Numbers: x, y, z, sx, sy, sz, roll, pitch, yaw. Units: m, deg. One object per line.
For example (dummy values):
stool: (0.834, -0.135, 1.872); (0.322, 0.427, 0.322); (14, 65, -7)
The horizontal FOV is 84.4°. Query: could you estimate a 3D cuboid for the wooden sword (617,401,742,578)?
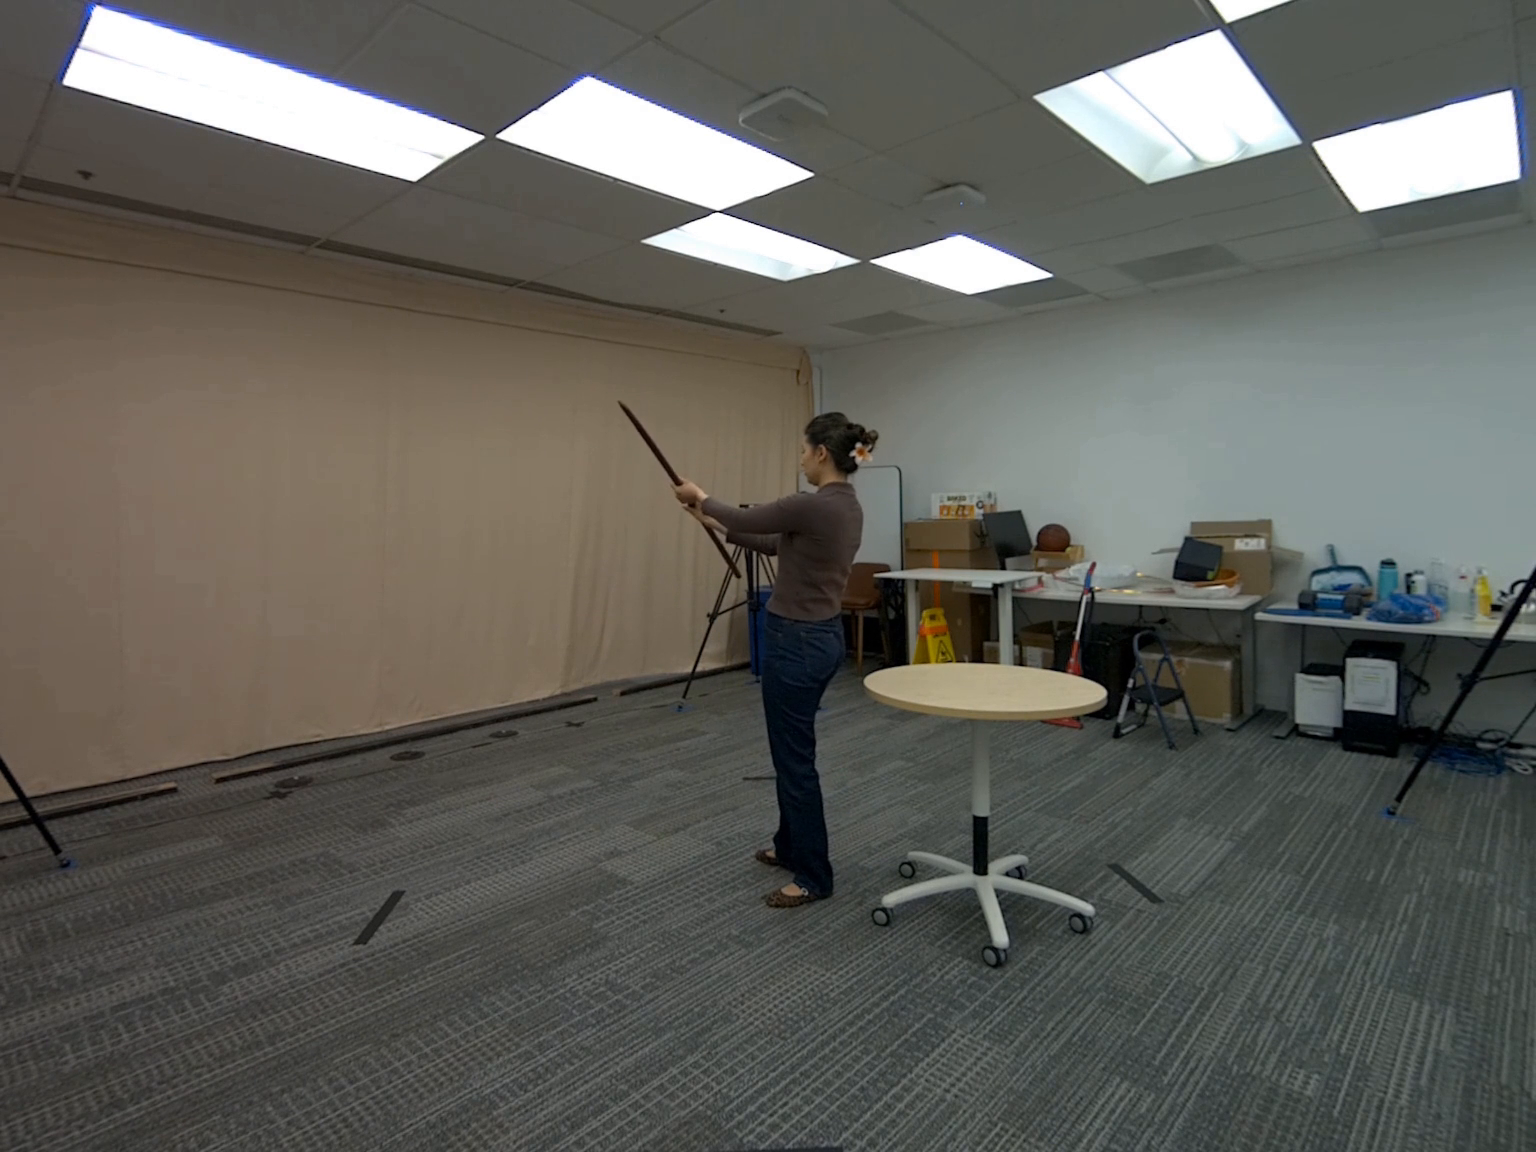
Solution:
wooden sword: (-0.310, -0.286, 3.187); (0.024, 0.052, 0.991); (-22, -43, 9)
